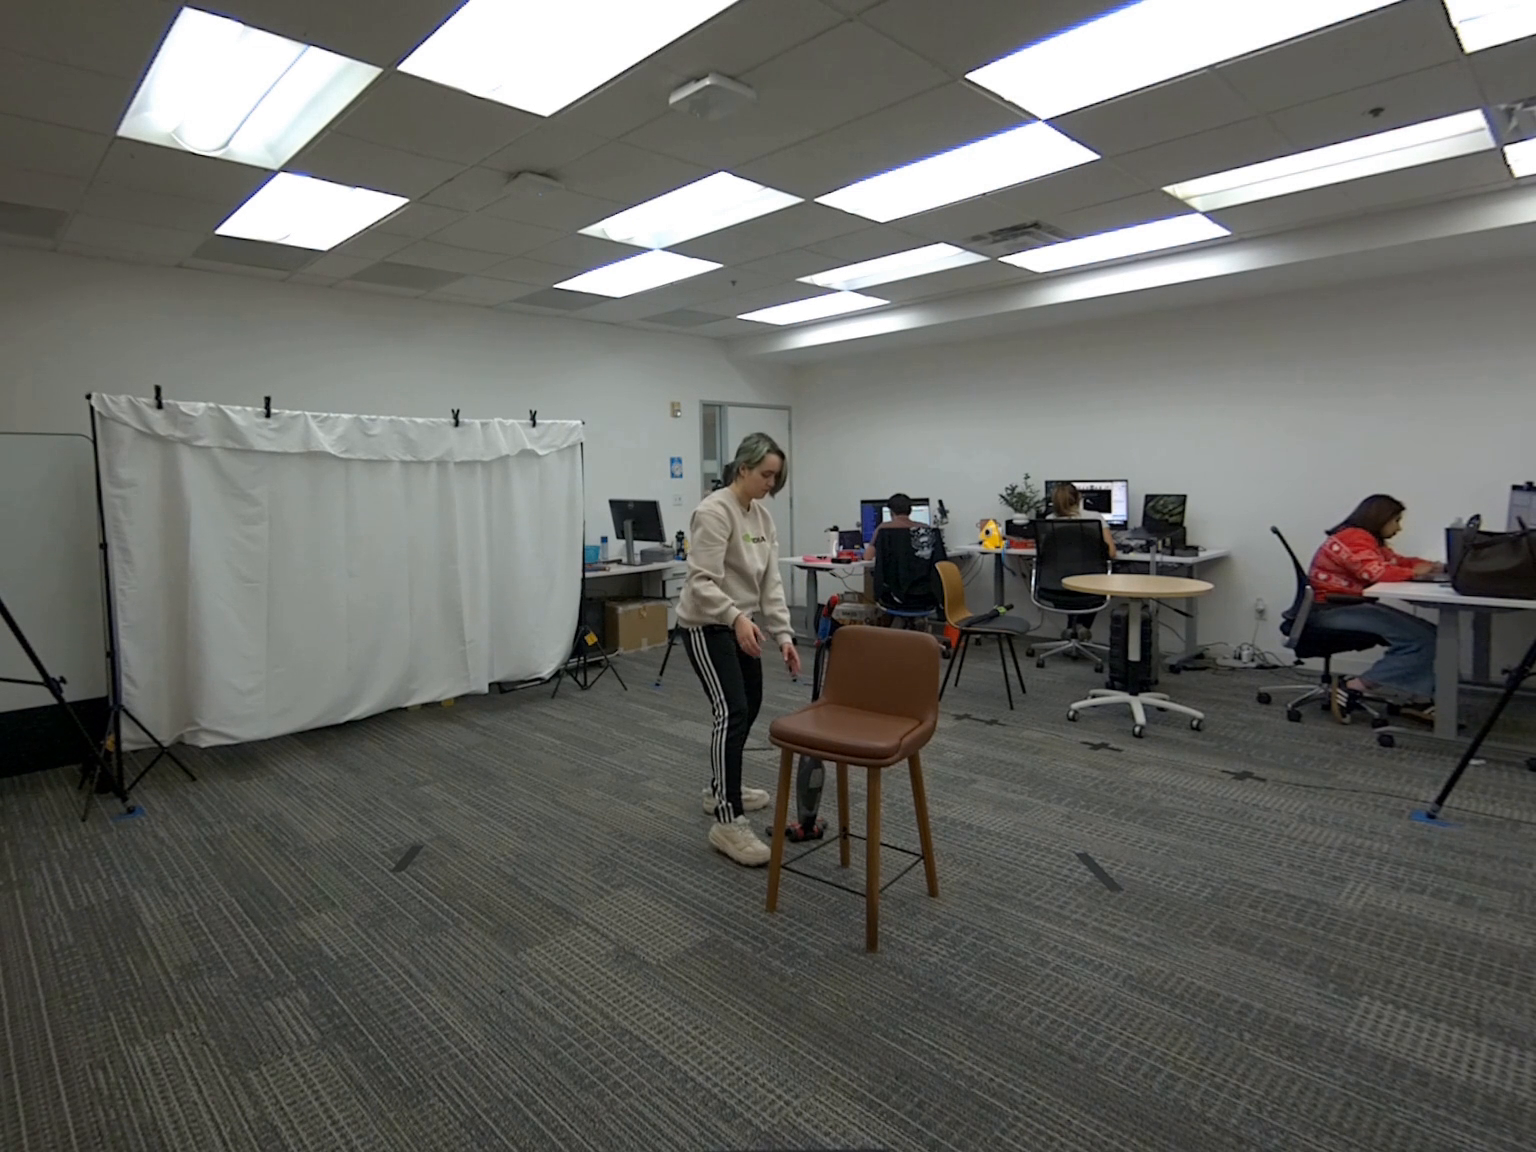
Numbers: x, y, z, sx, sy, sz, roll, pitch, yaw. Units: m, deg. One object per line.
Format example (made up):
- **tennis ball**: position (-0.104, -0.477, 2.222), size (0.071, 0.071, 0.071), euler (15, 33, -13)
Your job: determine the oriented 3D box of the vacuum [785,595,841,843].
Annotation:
- **vacuum**: position (0.180, 0.546, 3.165), size (0.249, 1.031, 0.149), euler (-1, 24, -17)
